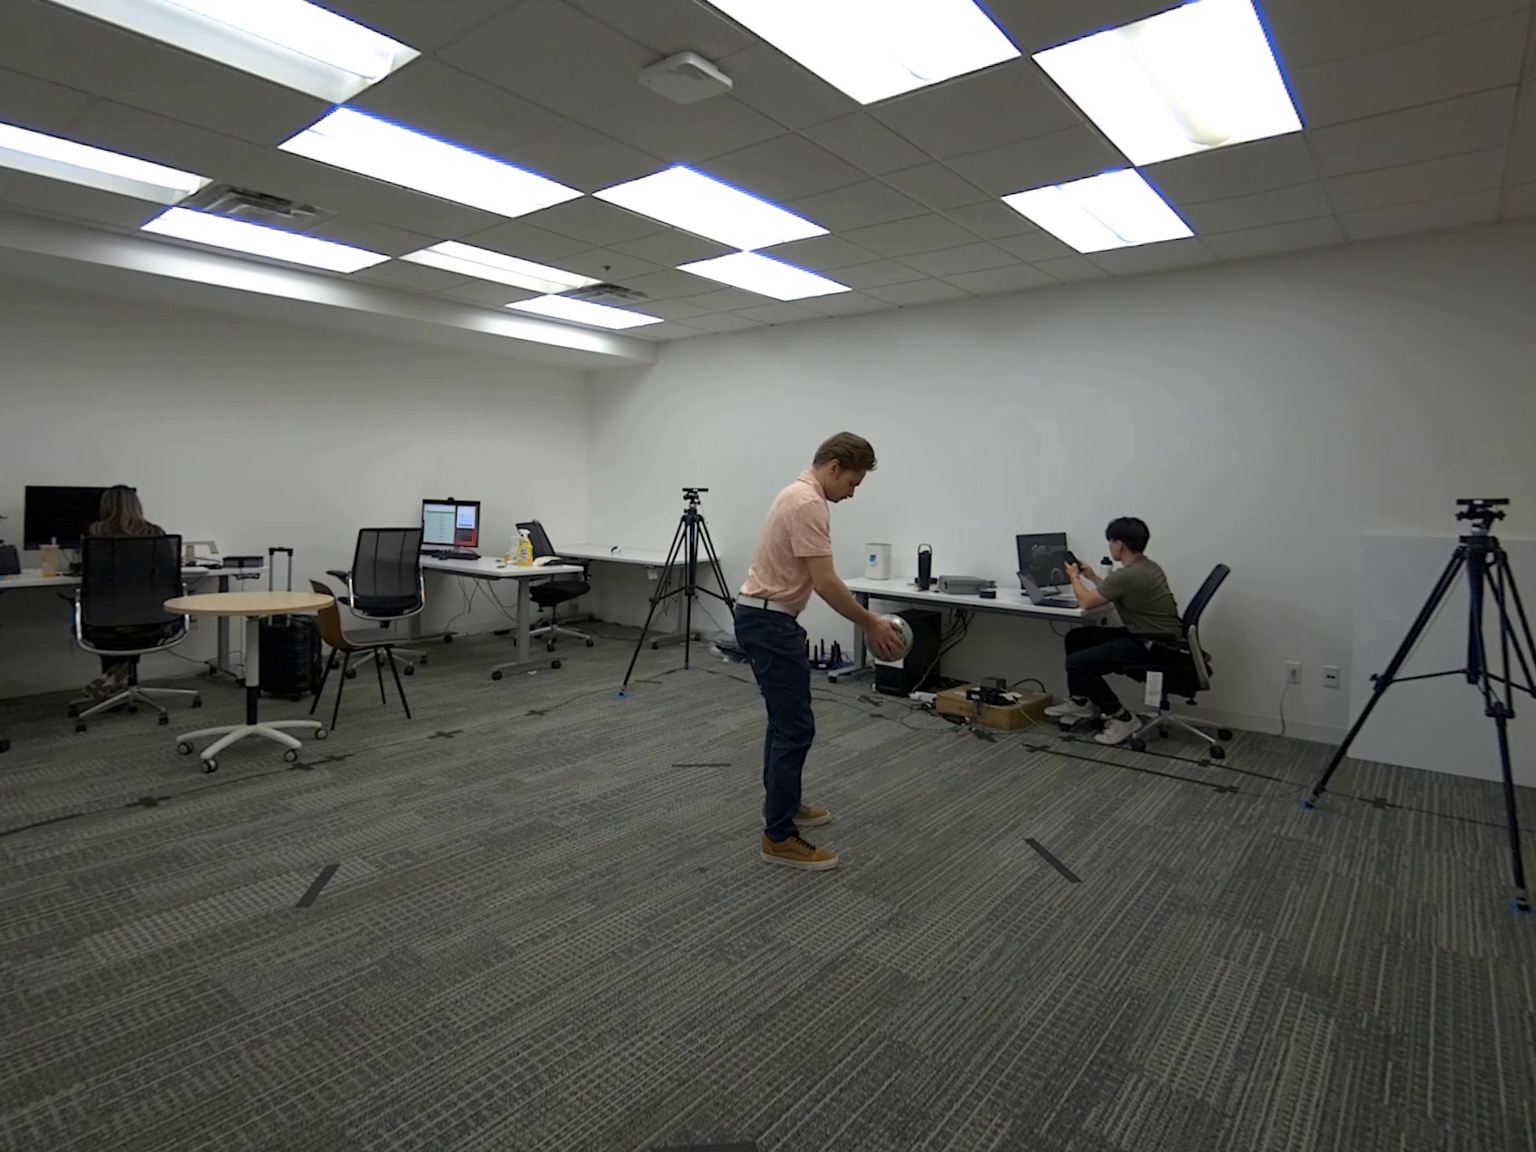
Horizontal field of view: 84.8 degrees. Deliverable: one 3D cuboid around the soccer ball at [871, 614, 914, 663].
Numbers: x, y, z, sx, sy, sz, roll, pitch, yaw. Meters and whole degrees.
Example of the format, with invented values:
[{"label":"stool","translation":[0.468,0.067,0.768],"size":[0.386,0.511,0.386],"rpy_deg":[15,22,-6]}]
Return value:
[{"label":"soccer ball","translation":[0.466,0.242,3.342],"size":[0.187,0.187,0.188],"rpy_deg":[1,4,-2]}]
